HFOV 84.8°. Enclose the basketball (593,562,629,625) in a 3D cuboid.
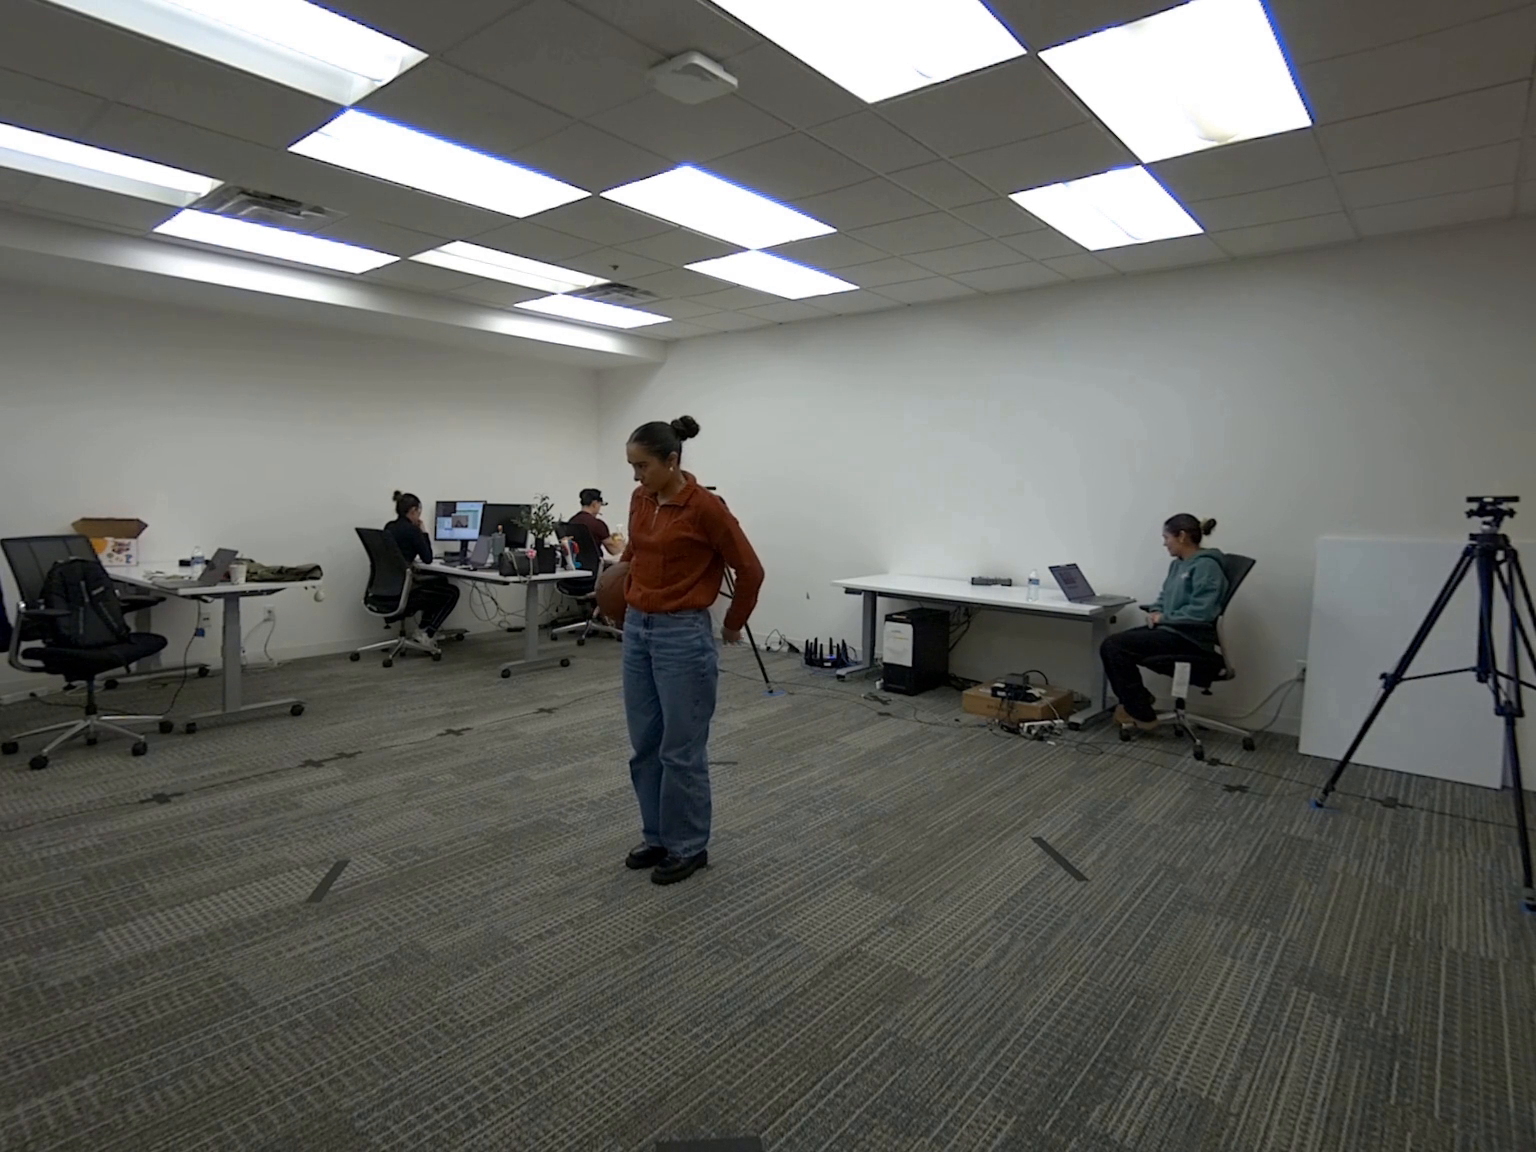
[{"bbox_3d":[-0.556,0.061,3.257,0.235,0.235,0.237,1,4,-2],"label":"basketball"}]
